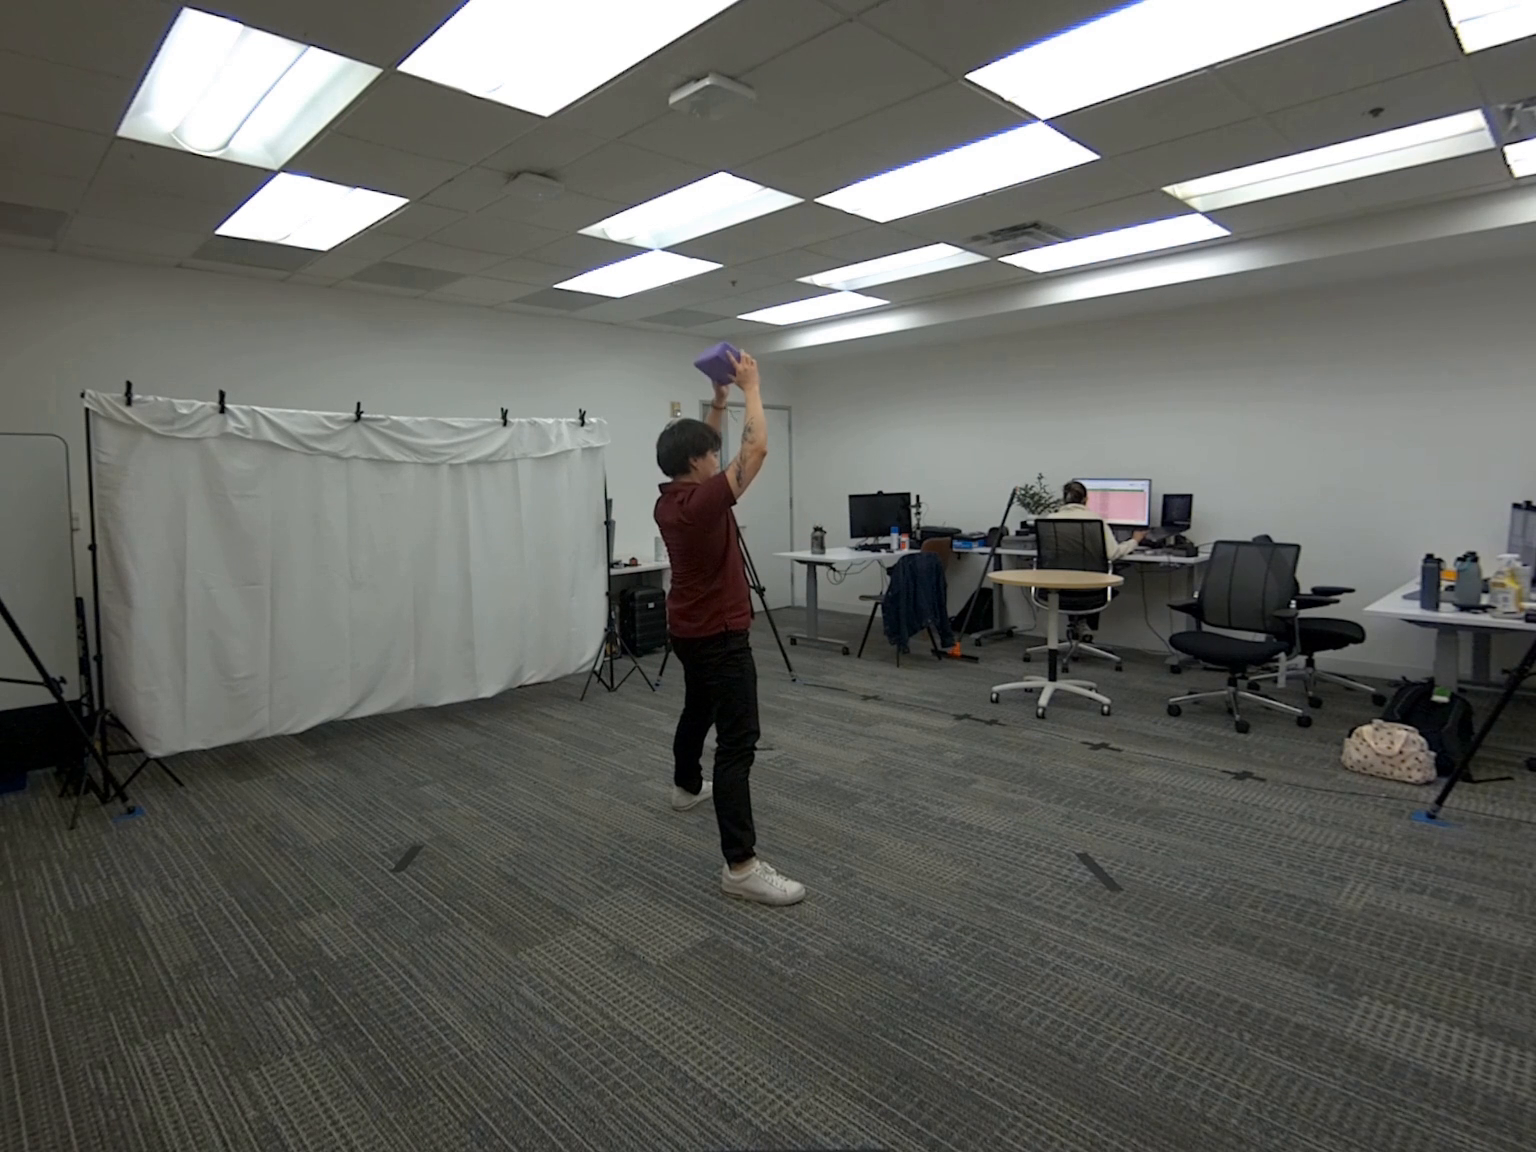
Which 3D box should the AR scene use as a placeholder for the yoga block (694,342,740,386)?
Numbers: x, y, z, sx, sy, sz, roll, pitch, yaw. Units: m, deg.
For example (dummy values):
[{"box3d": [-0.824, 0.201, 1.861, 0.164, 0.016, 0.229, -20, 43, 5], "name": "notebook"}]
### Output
[{"box3d": [-0.154, -0.791, 3.215, 0.145, 0.076, 0.235, 36, -11, -23], "name": "yoga block"}]
